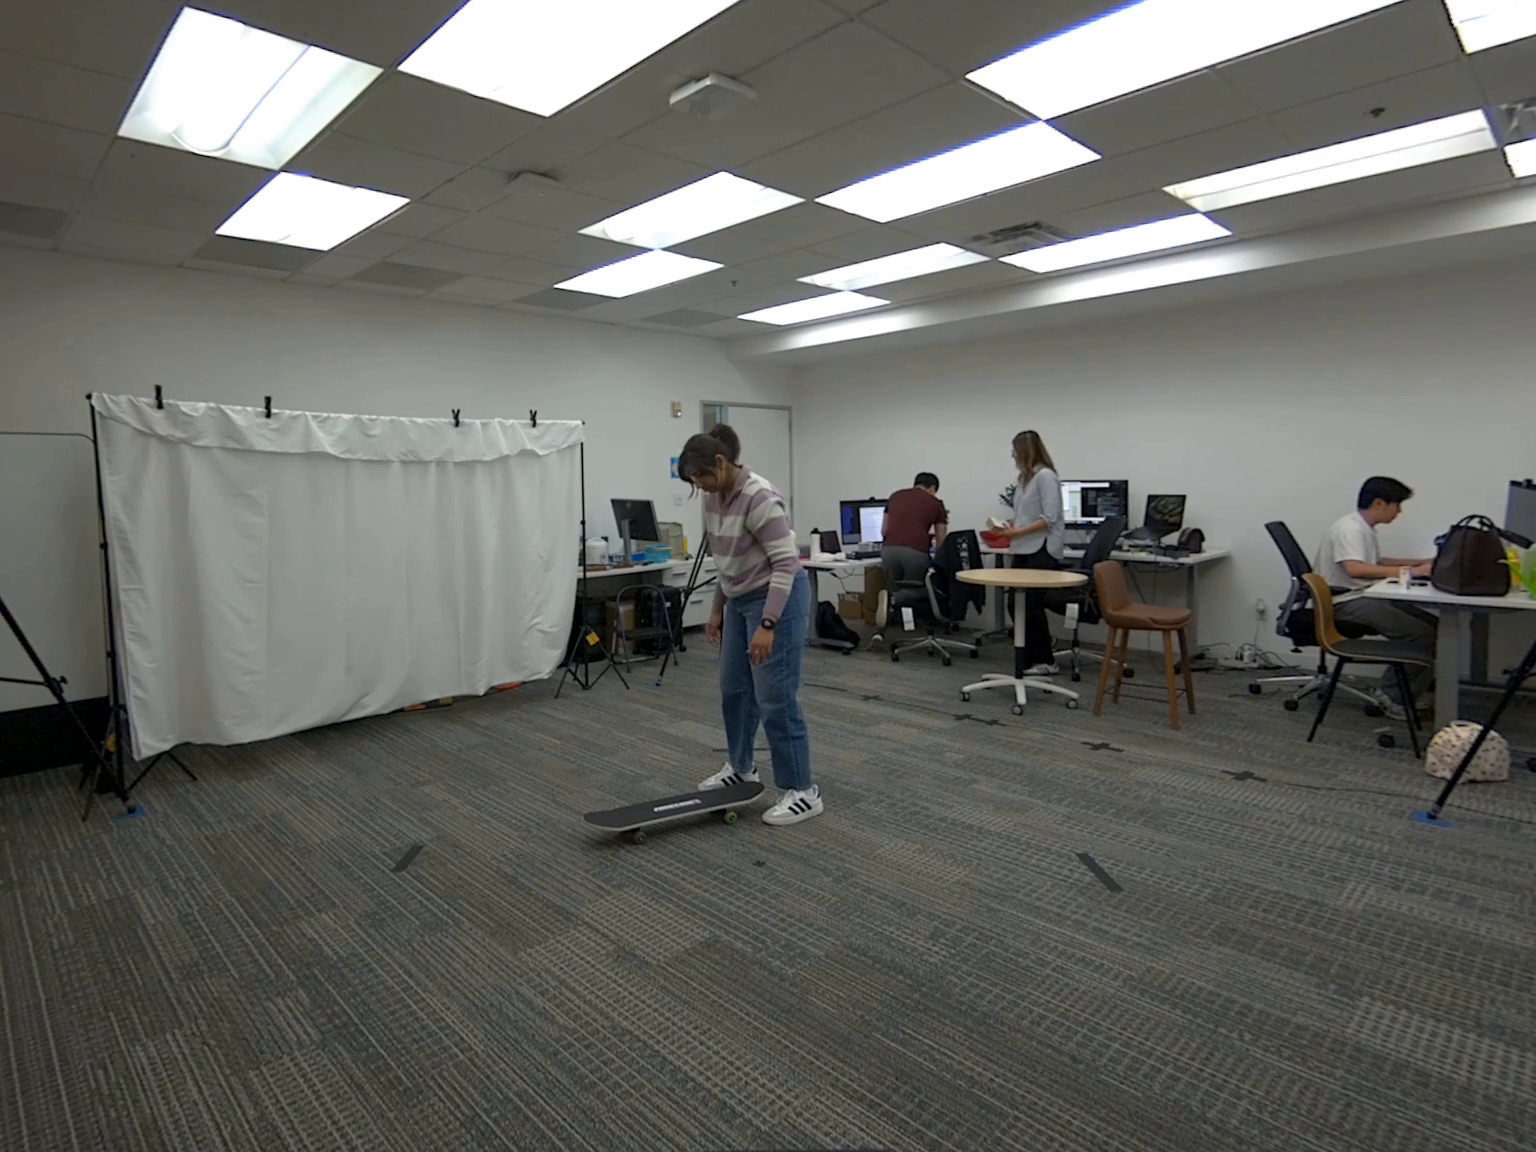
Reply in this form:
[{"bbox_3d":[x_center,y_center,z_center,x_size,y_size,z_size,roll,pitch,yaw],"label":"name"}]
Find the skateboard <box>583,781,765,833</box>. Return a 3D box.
[{"bbox_3d":[-0.364,0.955,3.451,0.768,0.110,0.199,-4,6,-28],"label":"skateboard"}]
